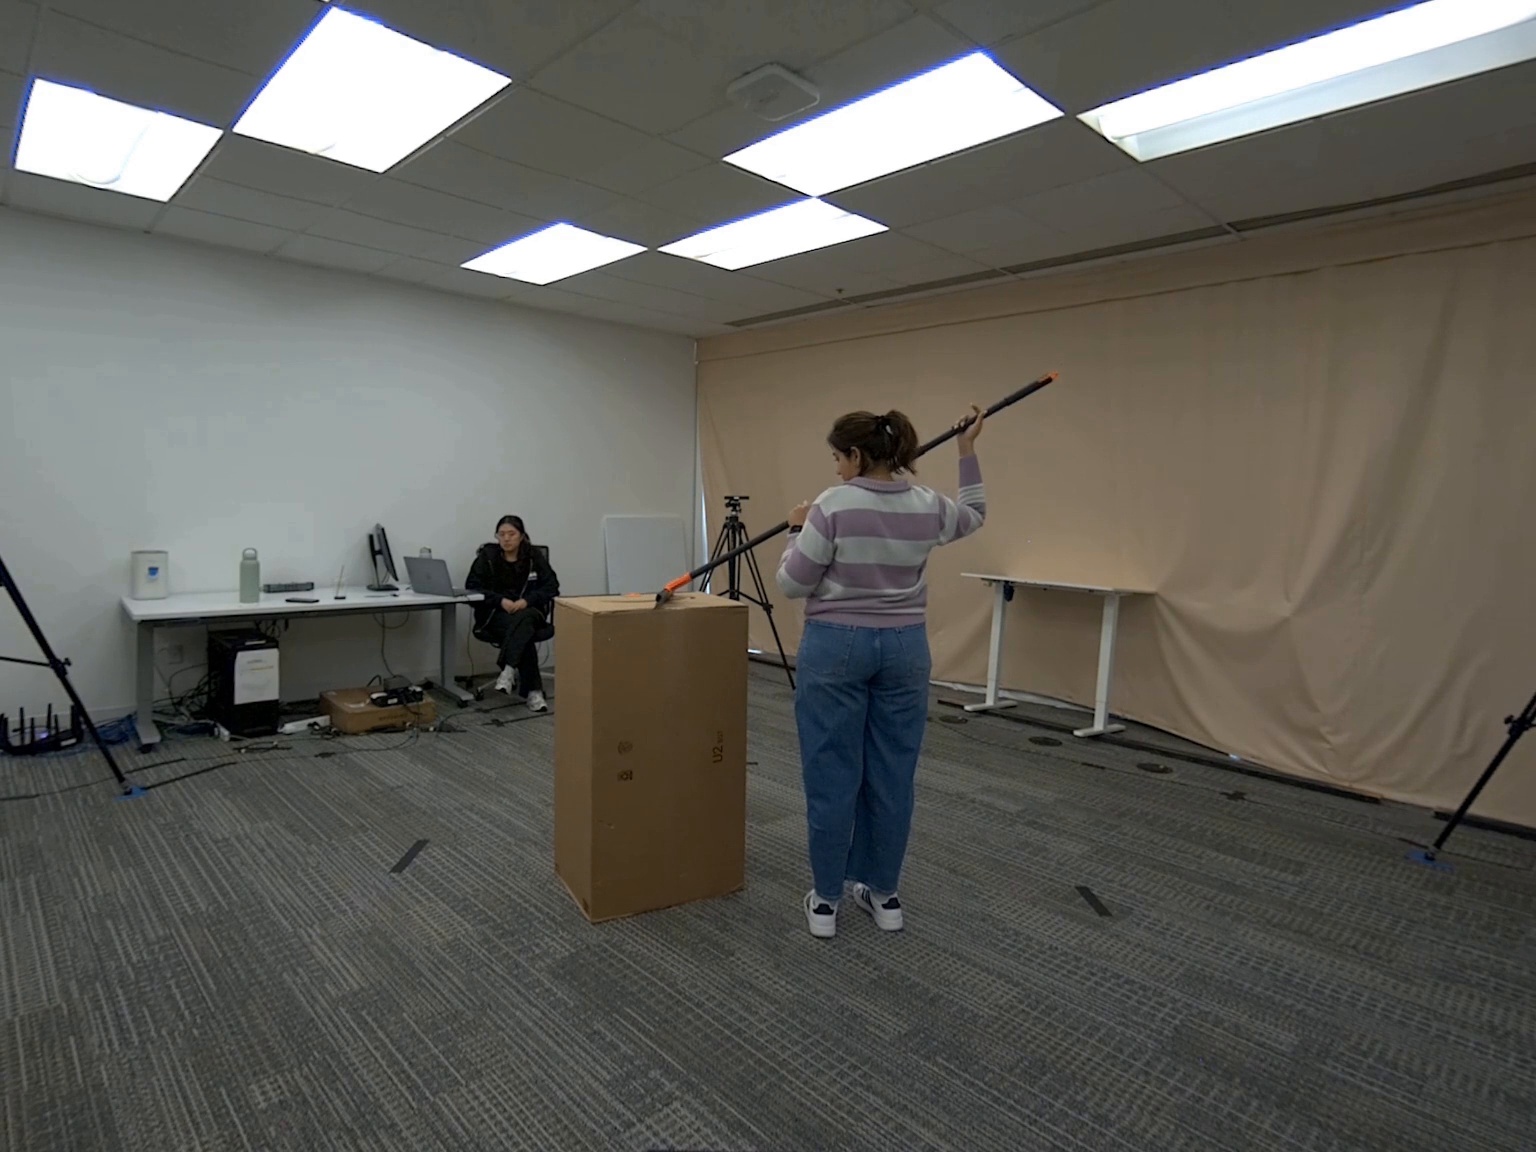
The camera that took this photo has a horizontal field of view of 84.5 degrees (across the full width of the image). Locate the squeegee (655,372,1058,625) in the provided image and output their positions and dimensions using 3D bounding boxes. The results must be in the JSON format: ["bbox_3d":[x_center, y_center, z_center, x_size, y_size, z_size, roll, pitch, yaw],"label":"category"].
[{"bbox_3d":[0.290,-0.303,2.922,1.541,0.053,0.437,-31,4,7],"label":"squeegee"}]
